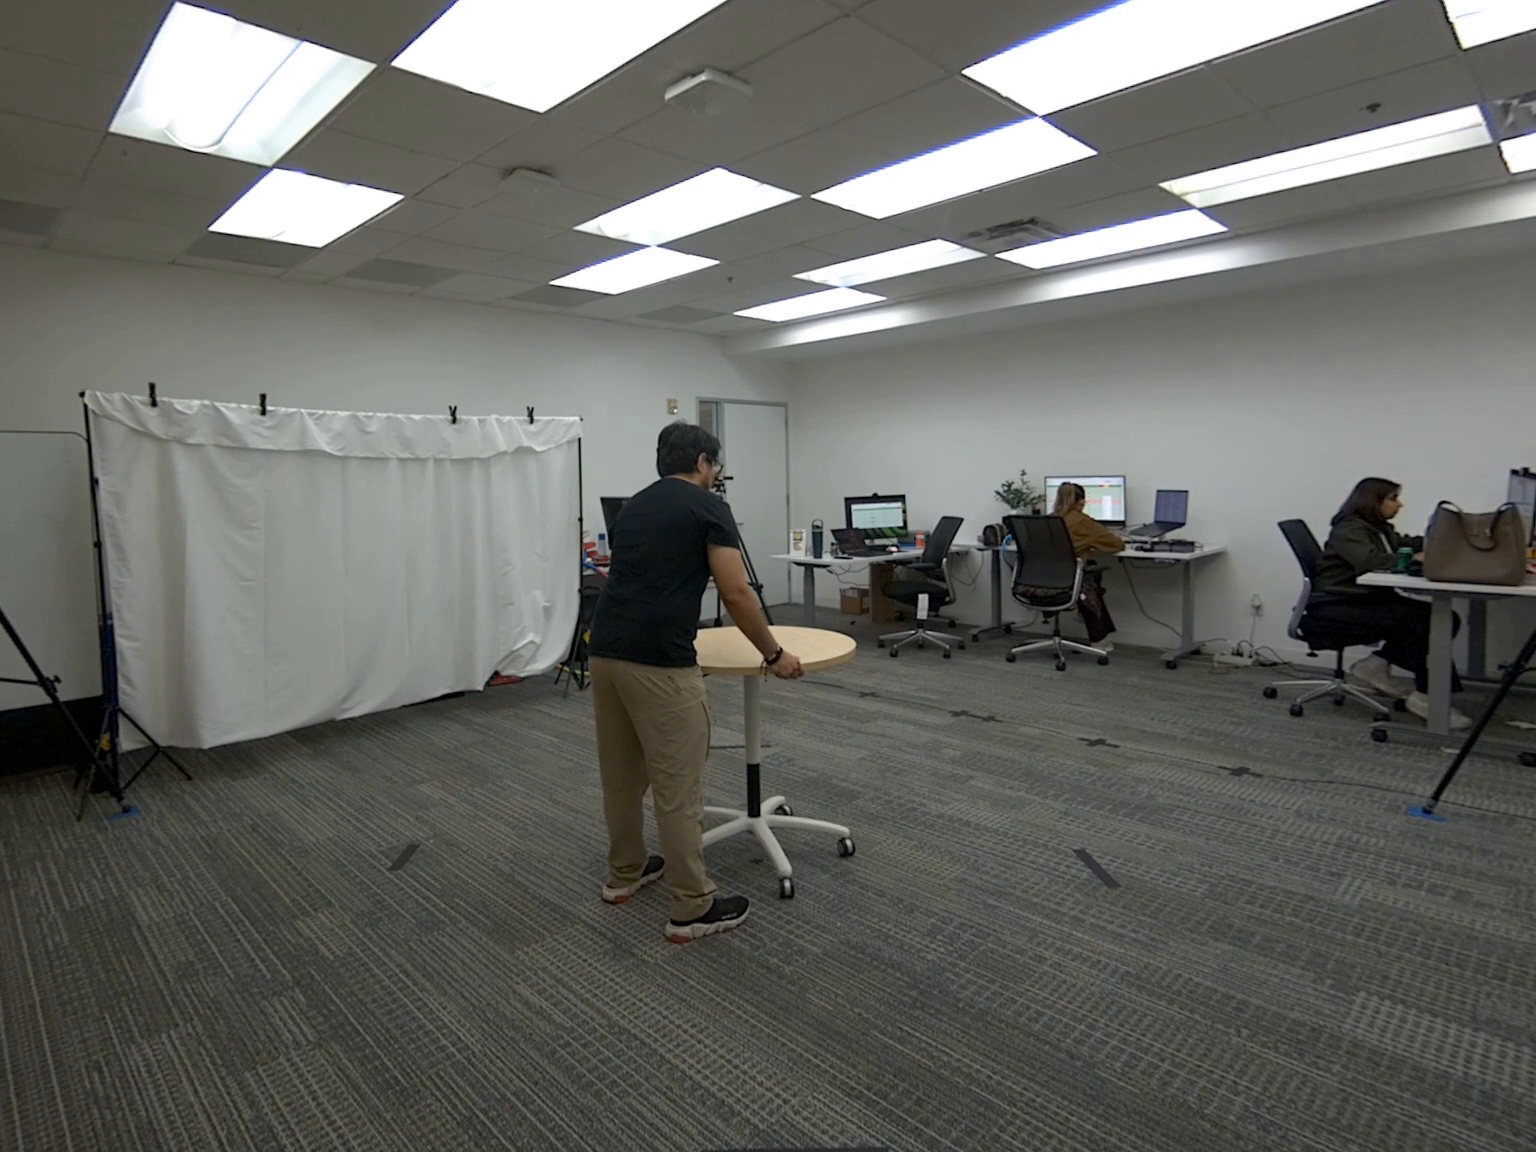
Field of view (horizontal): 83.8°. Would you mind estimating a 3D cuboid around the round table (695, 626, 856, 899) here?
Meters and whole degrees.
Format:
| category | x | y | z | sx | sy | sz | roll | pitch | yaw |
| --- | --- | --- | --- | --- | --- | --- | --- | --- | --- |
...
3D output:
| category | x | y | z | sx | sy | sz | roll | pitch | yaw |
| --- | --- | --- | --- | --- | --- | --- | --- | --- | --- |
| round table | -0.058 | 0.635 | 3.165 | 0.784 | 0.783 | 0.789 | -1 | 5 | -2 |
